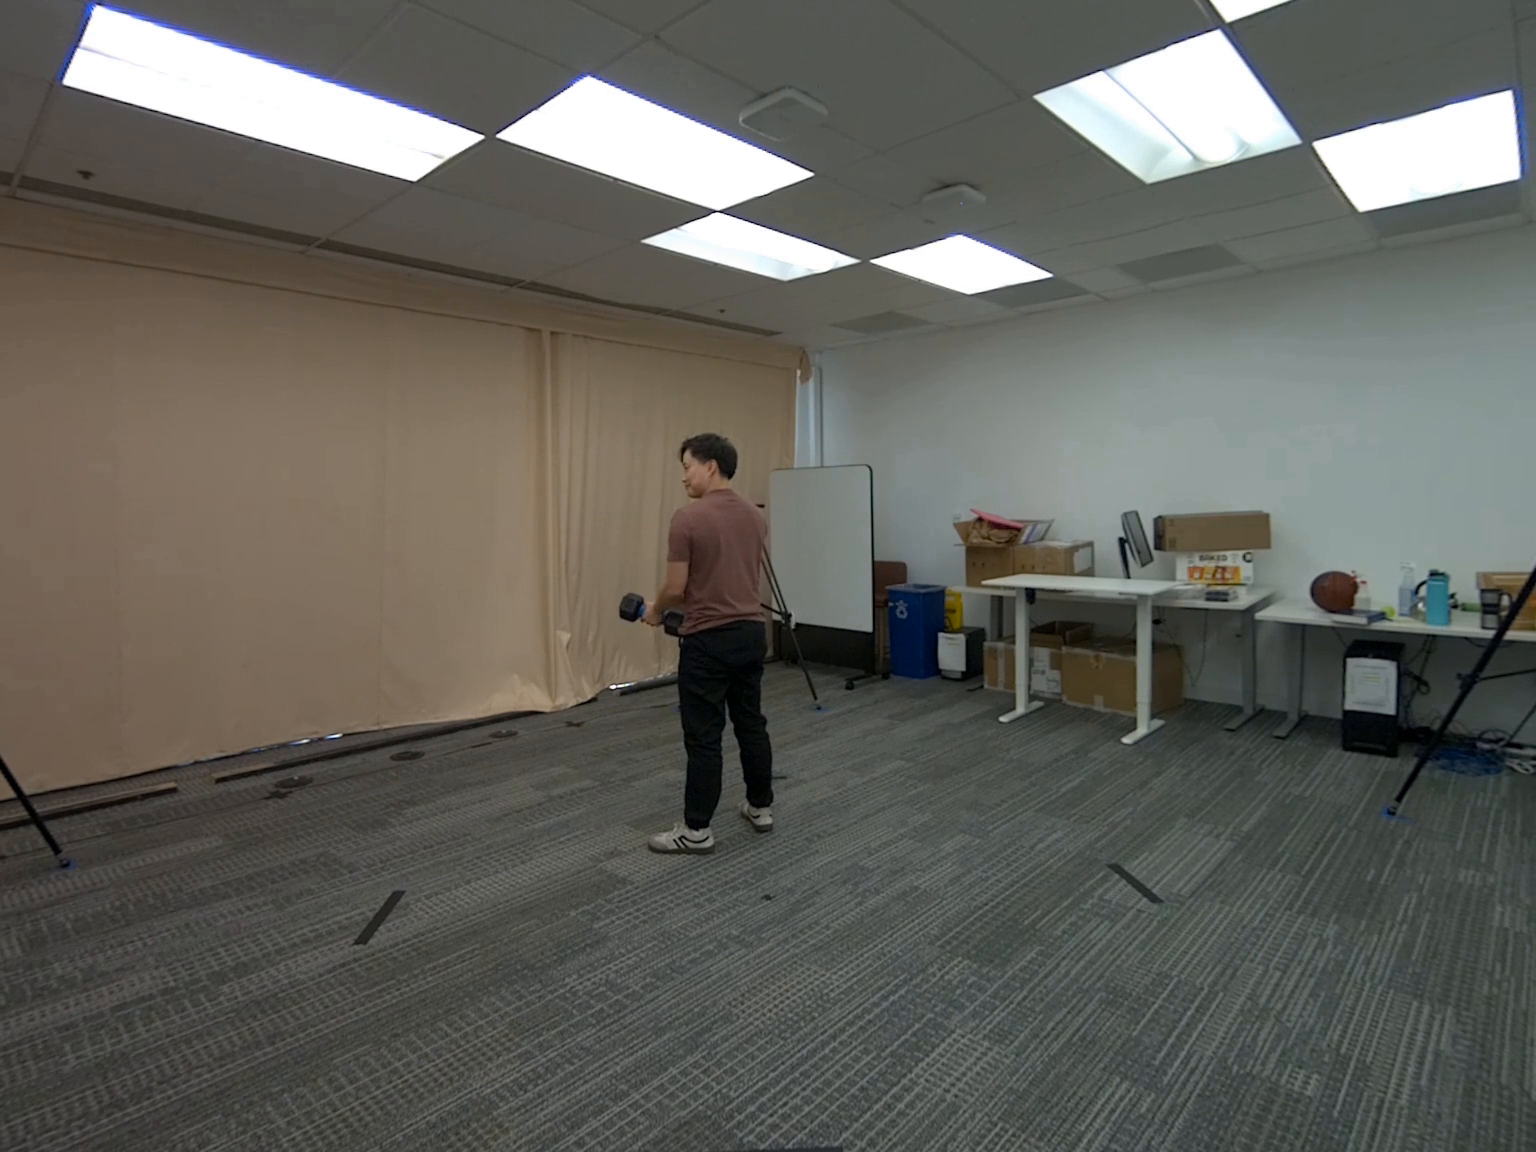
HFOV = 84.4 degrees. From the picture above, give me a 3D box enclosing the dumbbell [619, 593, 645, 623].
[{"bbox_3d":[-0.490,0.159,3.643,0.298,0.123,0.106,17,-16,13],"label":"dumbbell"}]
